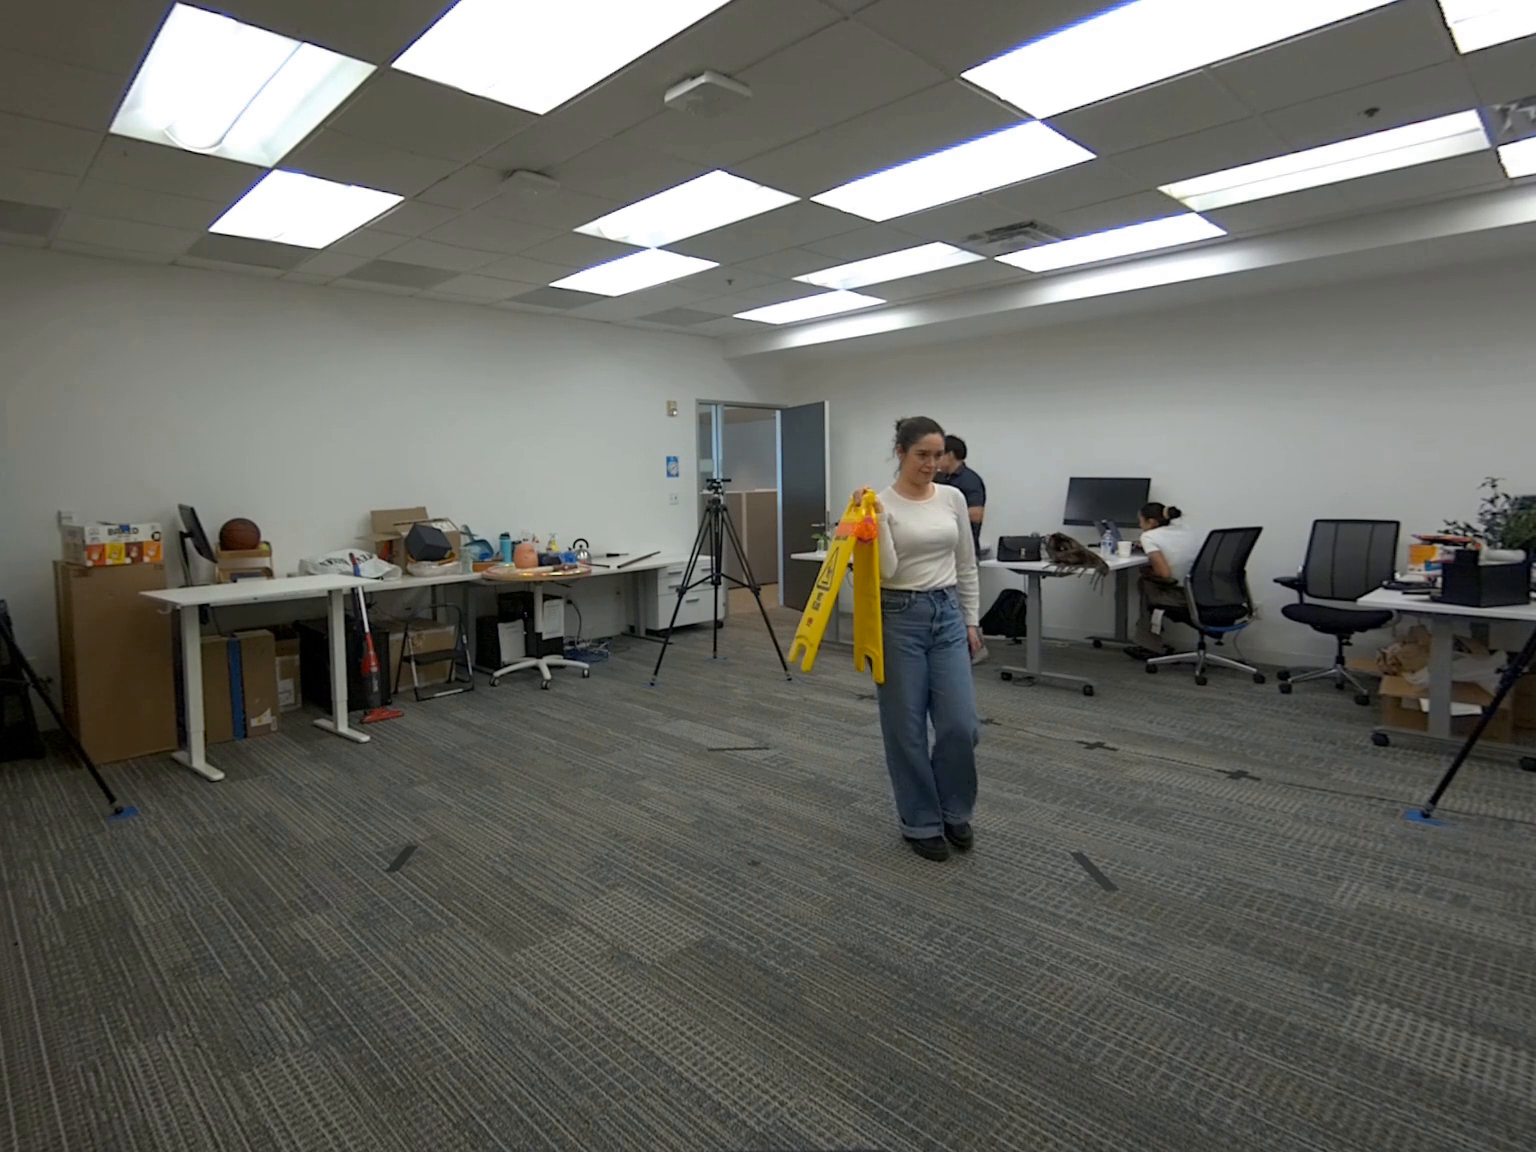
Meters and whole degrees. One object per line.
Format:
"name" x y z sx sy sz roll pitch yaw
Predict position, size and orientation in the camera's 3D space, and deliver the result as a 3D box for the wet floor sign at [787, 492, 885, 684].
"wet floor sign" 0.290 0.018 3.009 0.286 0.646 0.286 9 1 -11
